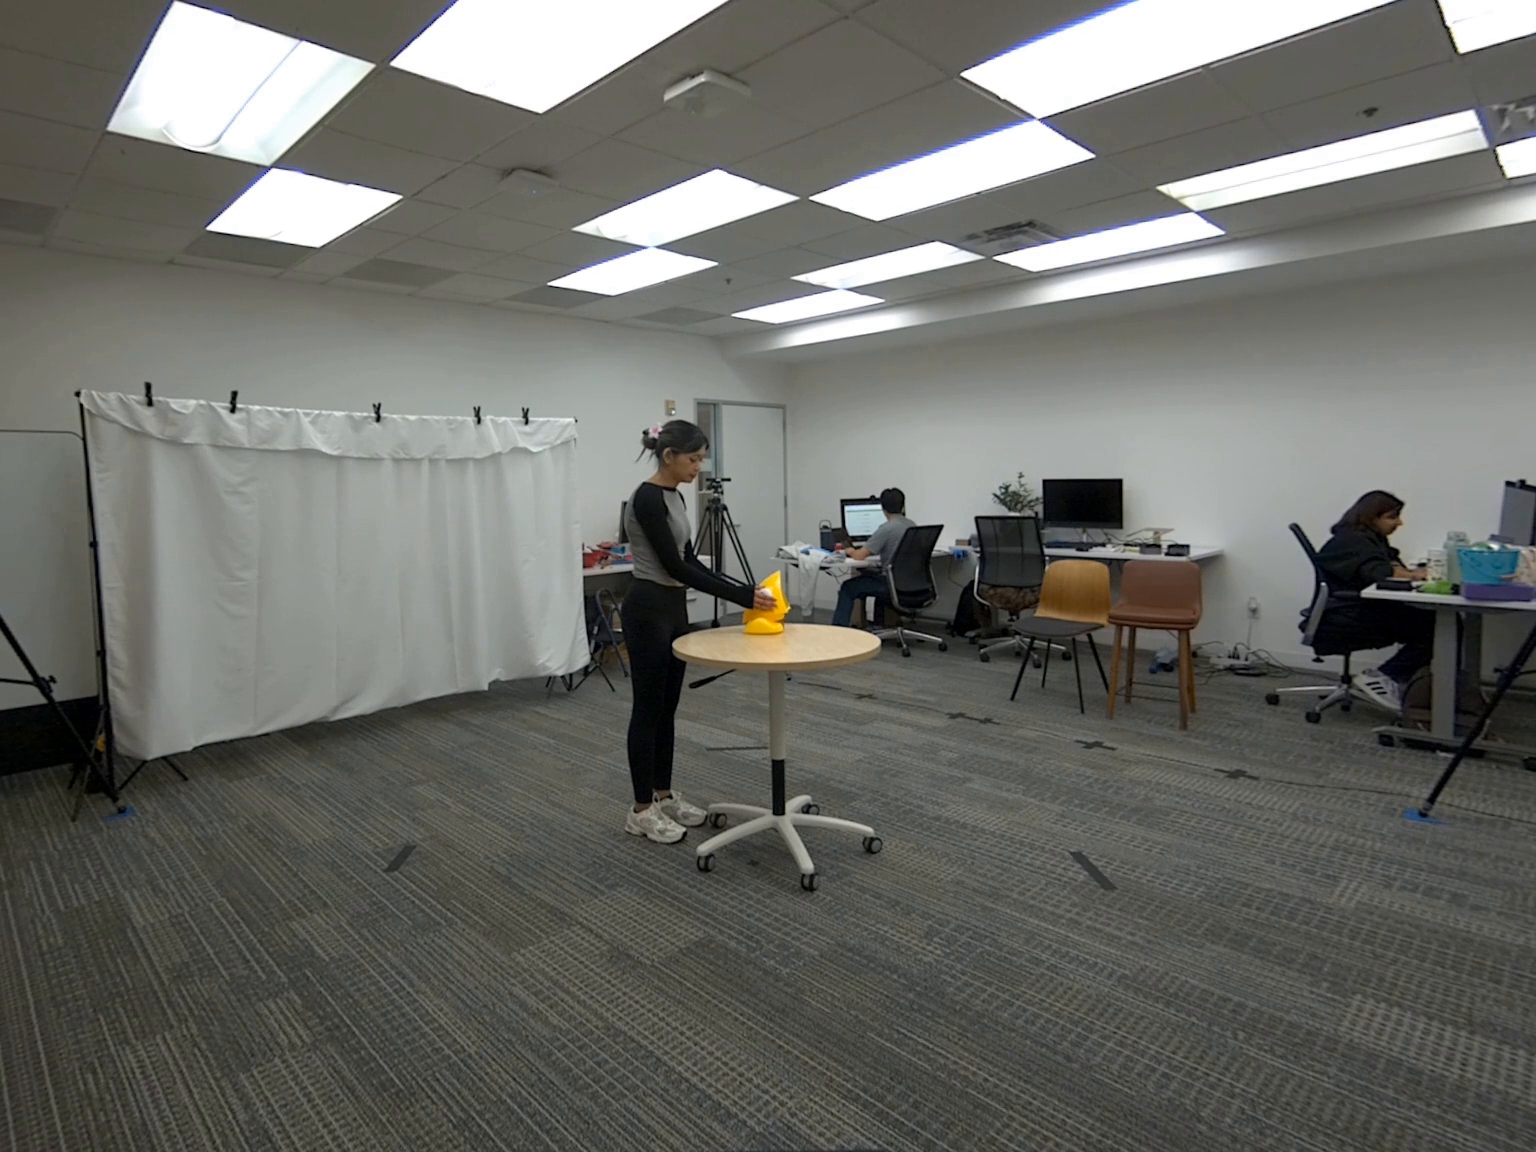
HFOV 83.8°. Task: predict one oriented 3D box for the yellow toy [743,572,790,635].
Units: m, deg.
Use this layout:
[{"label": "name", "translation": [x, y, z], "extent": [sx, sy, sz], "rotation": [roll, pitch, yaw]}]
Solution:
[{"label": "yellow toy", "translation": [-0.015, 0.094, 3.375], "extent": [0.194, 0.230, 0.204], "rotation": [-1, 3, 6]}]
